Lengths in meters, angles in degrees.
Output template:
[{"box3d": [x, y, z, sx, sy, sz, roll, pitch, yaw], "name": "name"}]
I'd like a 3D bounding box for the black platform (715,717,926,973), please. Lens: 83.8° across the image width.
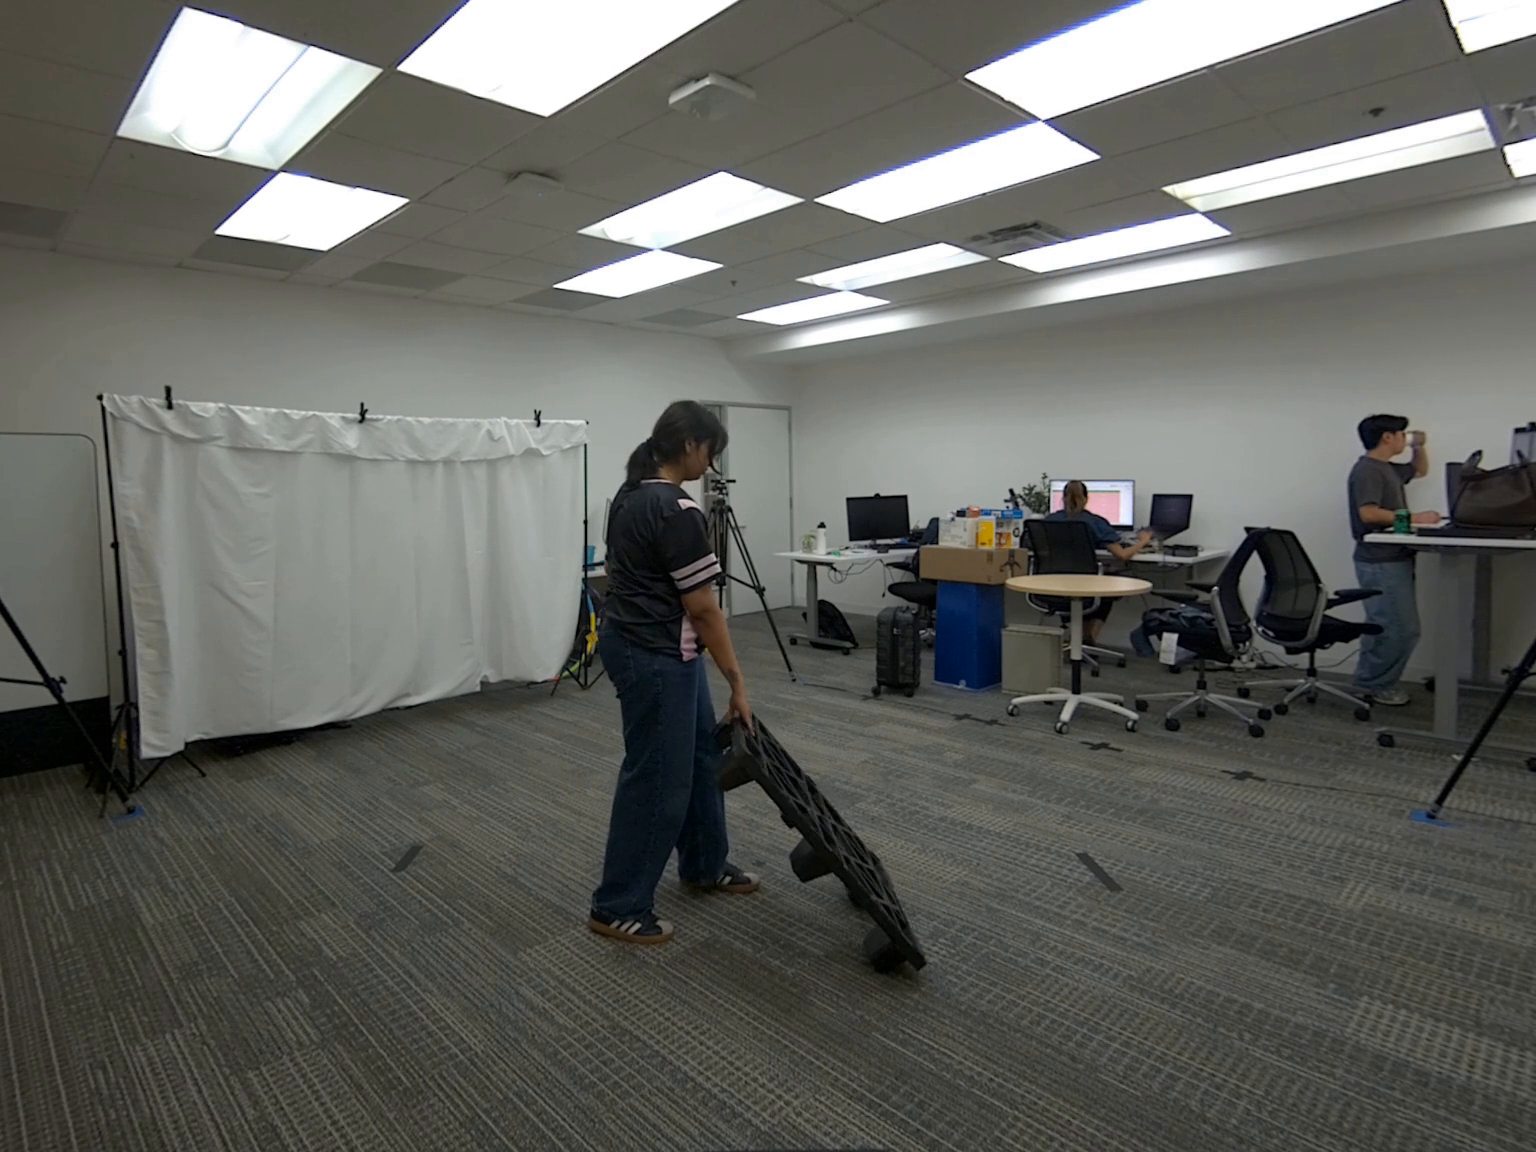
[{"box3d": [0.119, 0.772, 2.614, 0.143, 0.802, 0.608, -39, 4, 1], "name": "black platform"}]
